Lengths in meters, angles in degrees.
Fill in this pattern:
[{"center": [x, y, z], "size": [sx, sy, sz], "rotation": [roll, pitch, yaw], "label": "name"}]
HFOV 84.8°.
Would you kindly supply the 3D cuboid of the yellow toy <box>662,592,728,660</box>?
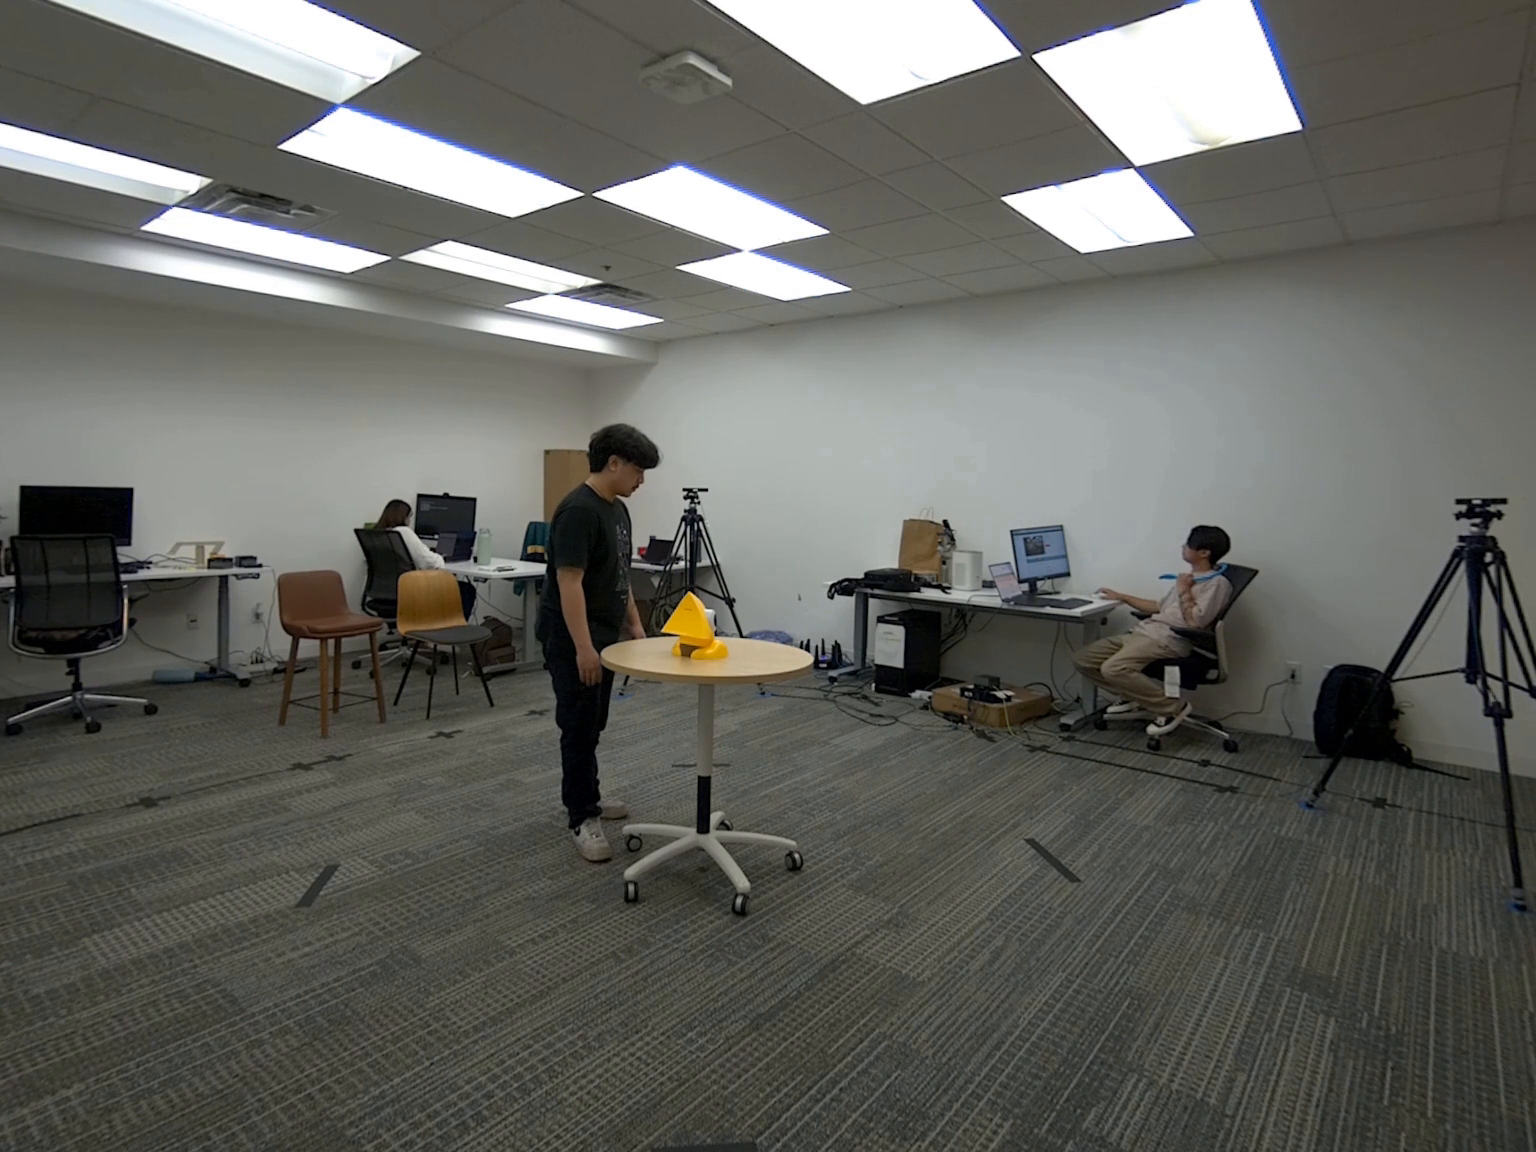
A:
[{"center": [-0.255, 0.166, 3.060], "size": [0.211, 0.230, 0.187], "rotation": [3, 3, 37], "label": "yellow toy"}]
